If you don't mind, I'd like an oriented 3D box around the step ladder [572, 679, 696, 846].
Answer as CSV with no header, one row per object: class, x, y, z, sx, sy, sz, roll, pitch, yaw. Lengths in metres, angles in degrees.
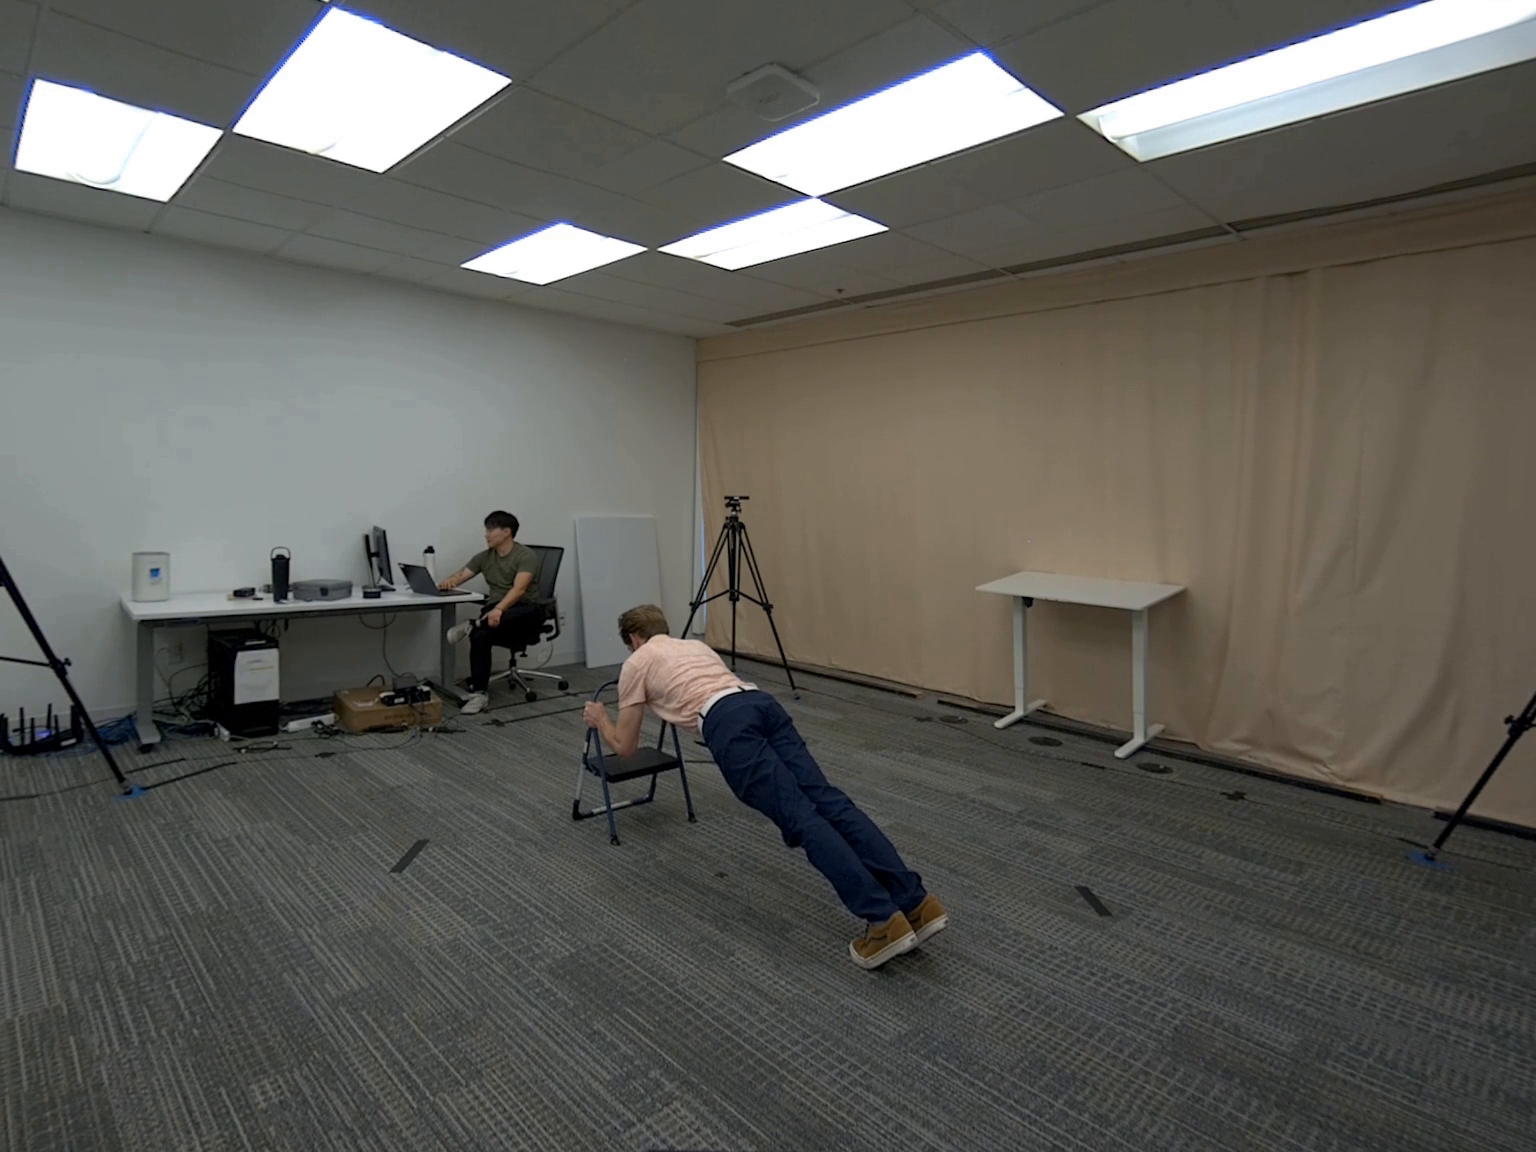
step ladder,-0.576,0.750,3.596,0.421,0.605,0.358,-2,4,-43
